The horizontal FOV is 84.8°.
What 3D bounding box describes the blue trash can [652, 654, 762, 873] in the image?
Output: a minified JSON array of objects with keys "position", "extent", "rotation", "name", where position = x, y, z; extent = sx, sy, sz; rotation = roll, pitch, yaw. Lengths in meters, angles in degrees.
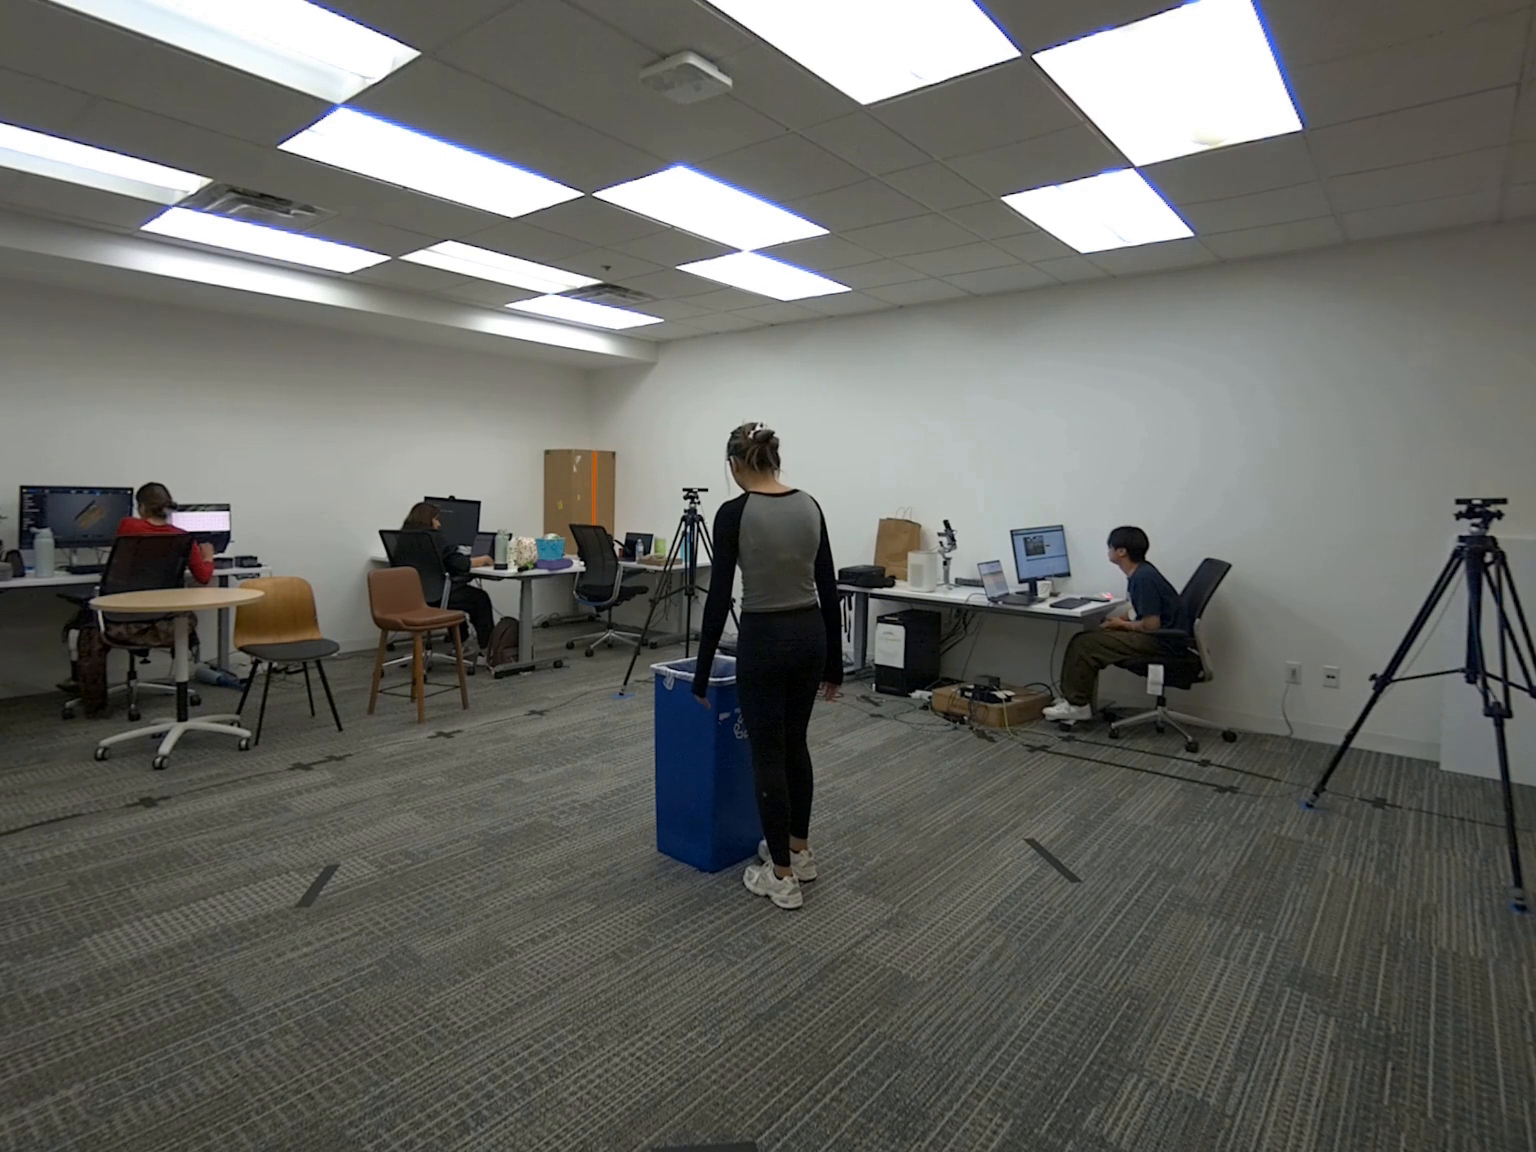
[{"position":[-0.224,0.696,3.268],"extent":[0.391,0.711,0.363],"rotation":[4,4,41],"name":"blue trash can"}]
